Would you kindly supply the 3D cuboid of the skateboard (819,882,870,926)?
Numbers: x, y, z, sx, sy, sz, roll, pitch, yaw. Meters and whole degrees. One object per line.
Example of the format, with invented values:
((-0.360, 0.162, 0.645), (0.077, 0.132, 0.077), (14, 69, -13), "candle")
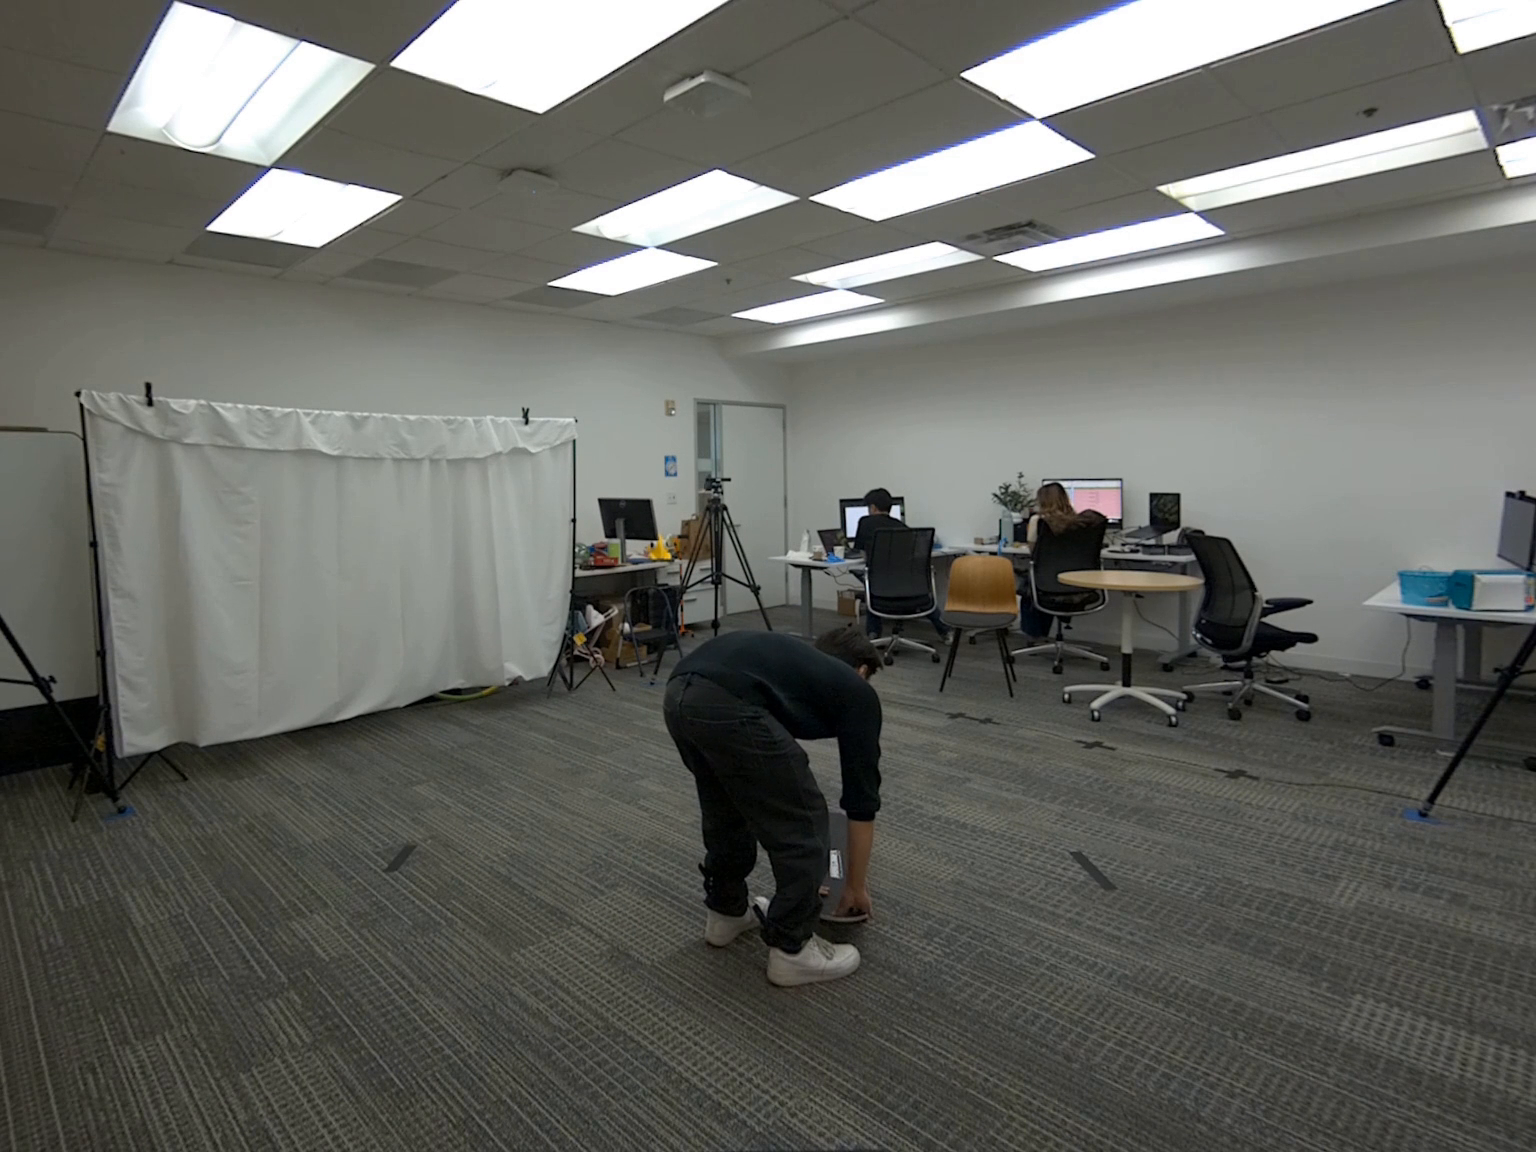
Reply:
((0.235, 1.006, 2.902), (0.194, 0.110, 0.787), (0, 7, 1), "skateboard")
